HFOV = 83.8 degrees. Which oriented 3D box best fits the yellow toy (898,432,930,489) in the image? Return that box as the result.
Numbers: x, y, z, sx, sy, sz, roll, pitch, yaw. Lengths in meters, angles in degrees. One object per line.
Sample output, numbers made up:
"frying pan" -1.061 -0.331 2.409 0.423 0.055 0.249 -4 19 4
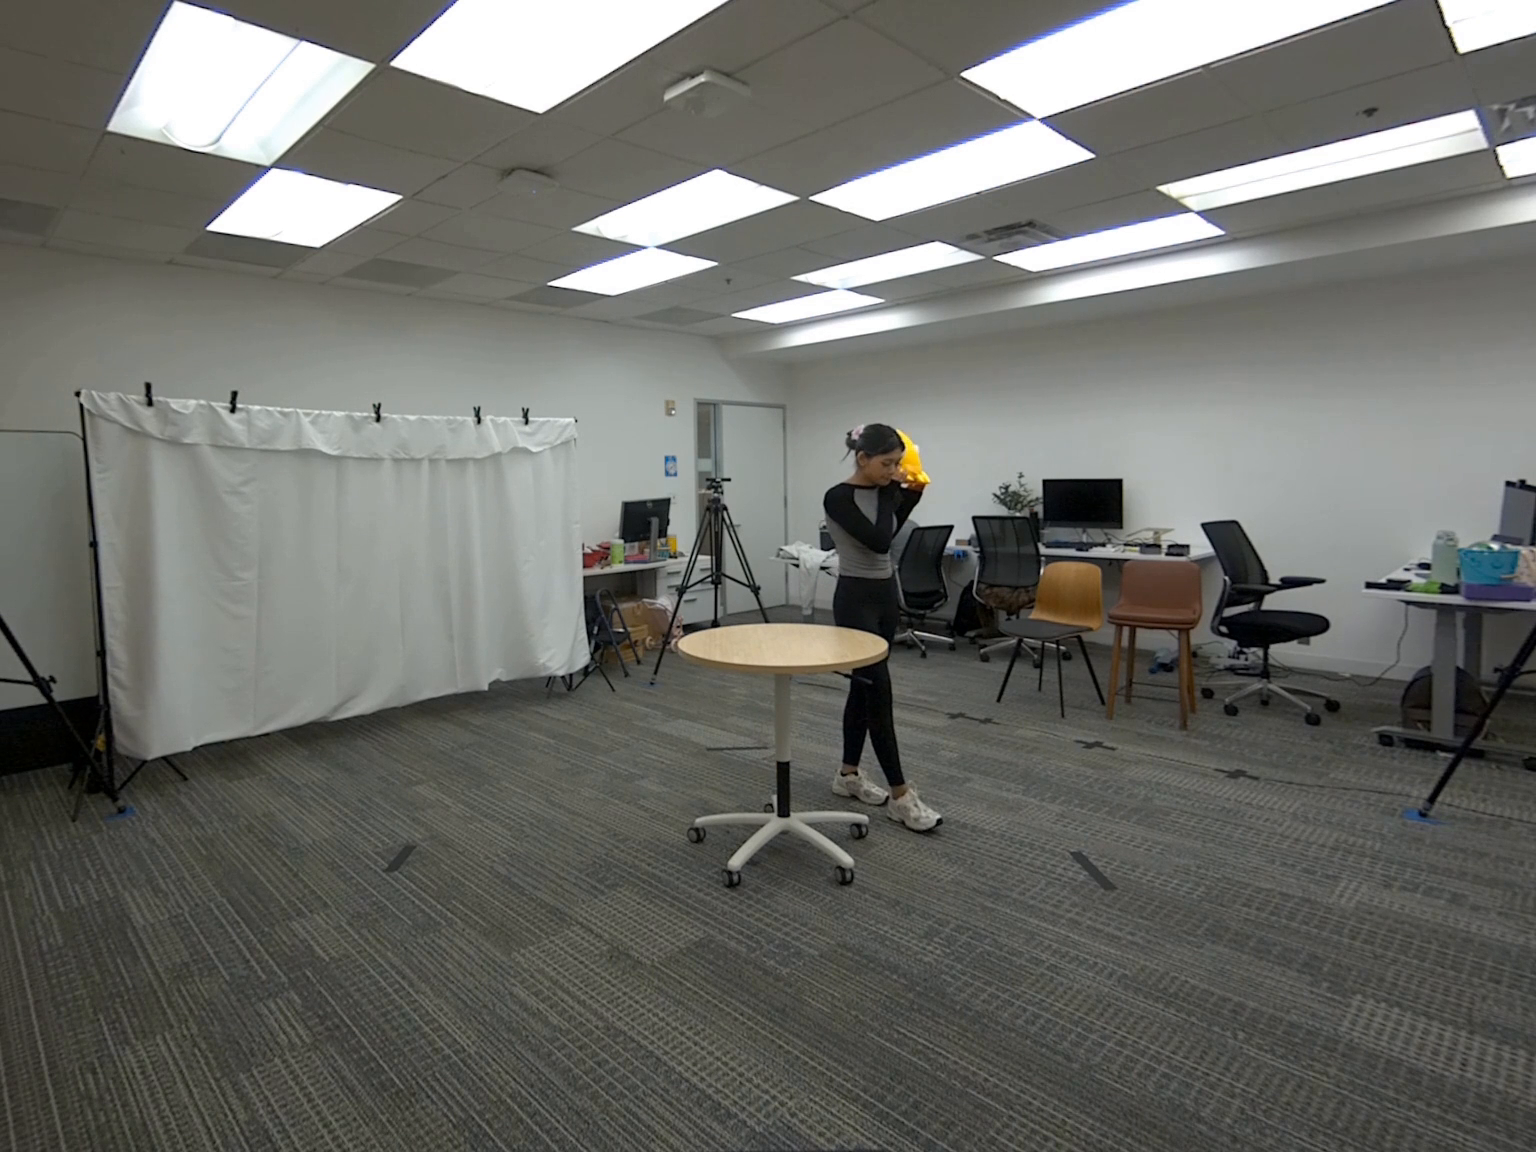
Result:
"yellow toy" 0.591 -0.520 3.666 0.198 0.231 0.199 6 -2 -39
